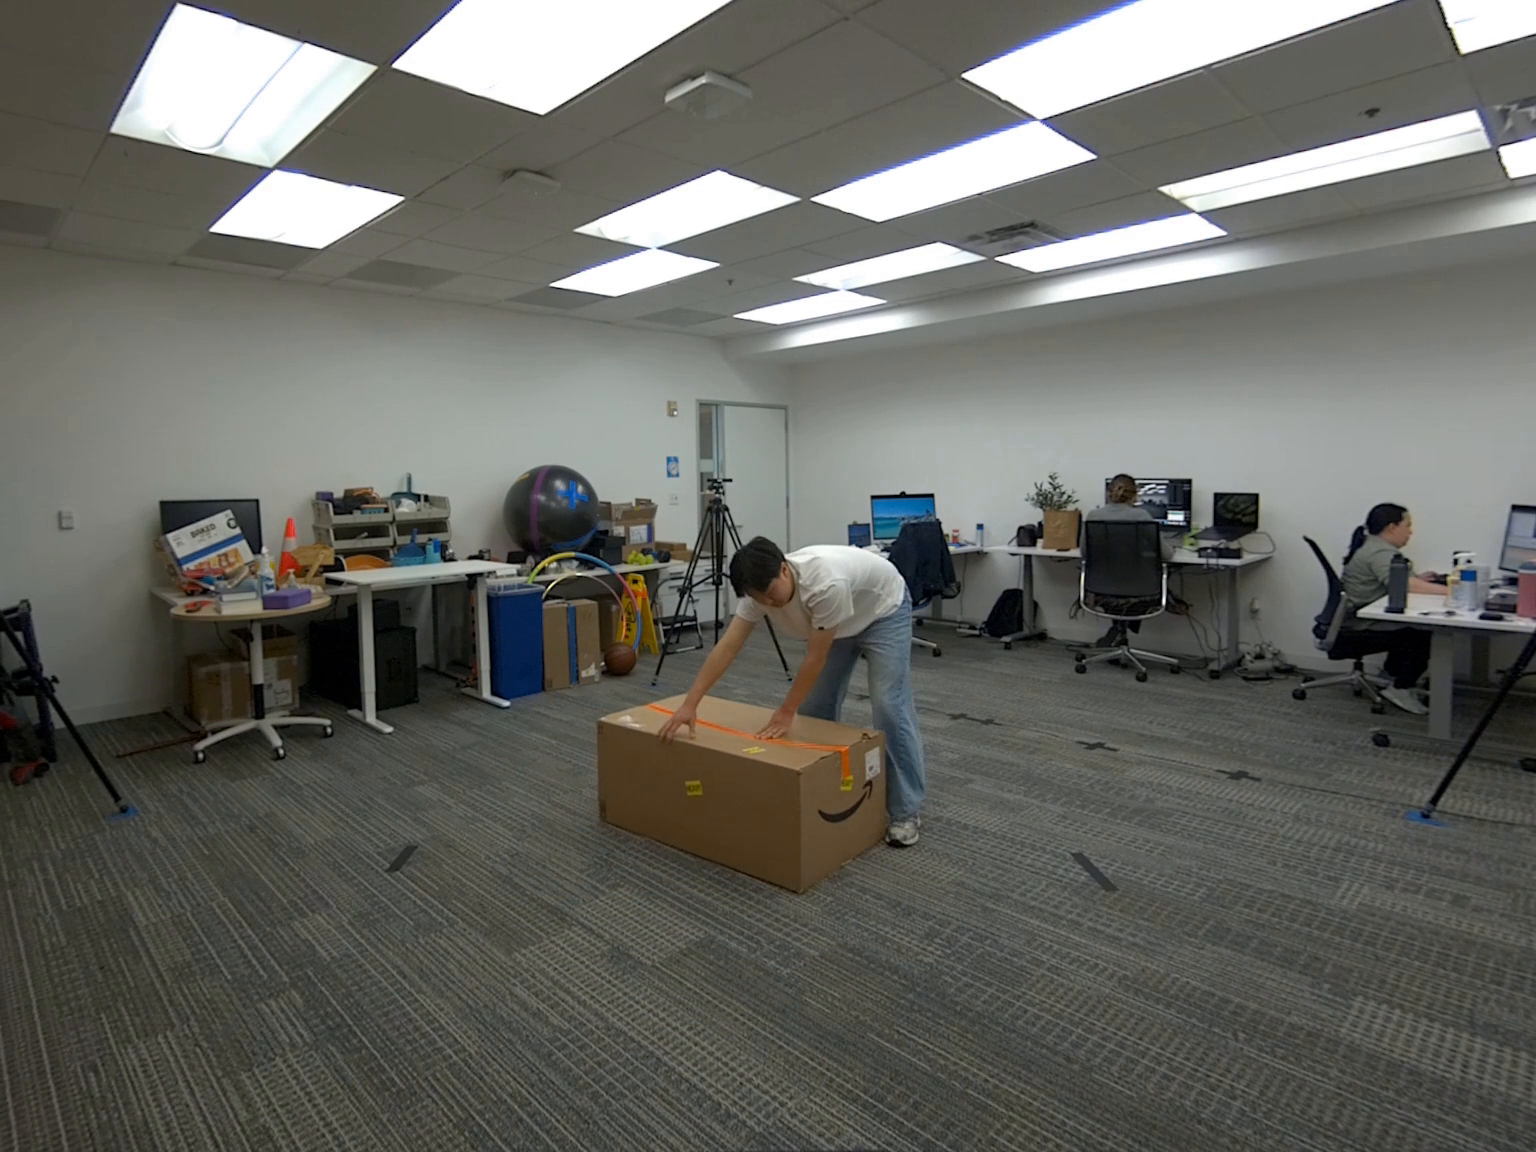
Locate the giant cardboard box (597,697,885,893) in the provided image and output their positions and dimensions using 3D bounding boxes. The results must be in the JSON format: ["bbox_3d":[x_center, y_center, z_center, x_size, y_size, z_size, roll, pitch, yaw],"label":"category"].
[{"bbox_3d":[-0.128,0.804,3.400,1.057,0.424,0.563,4,7,39],"label":"giant cardboard box"}]
